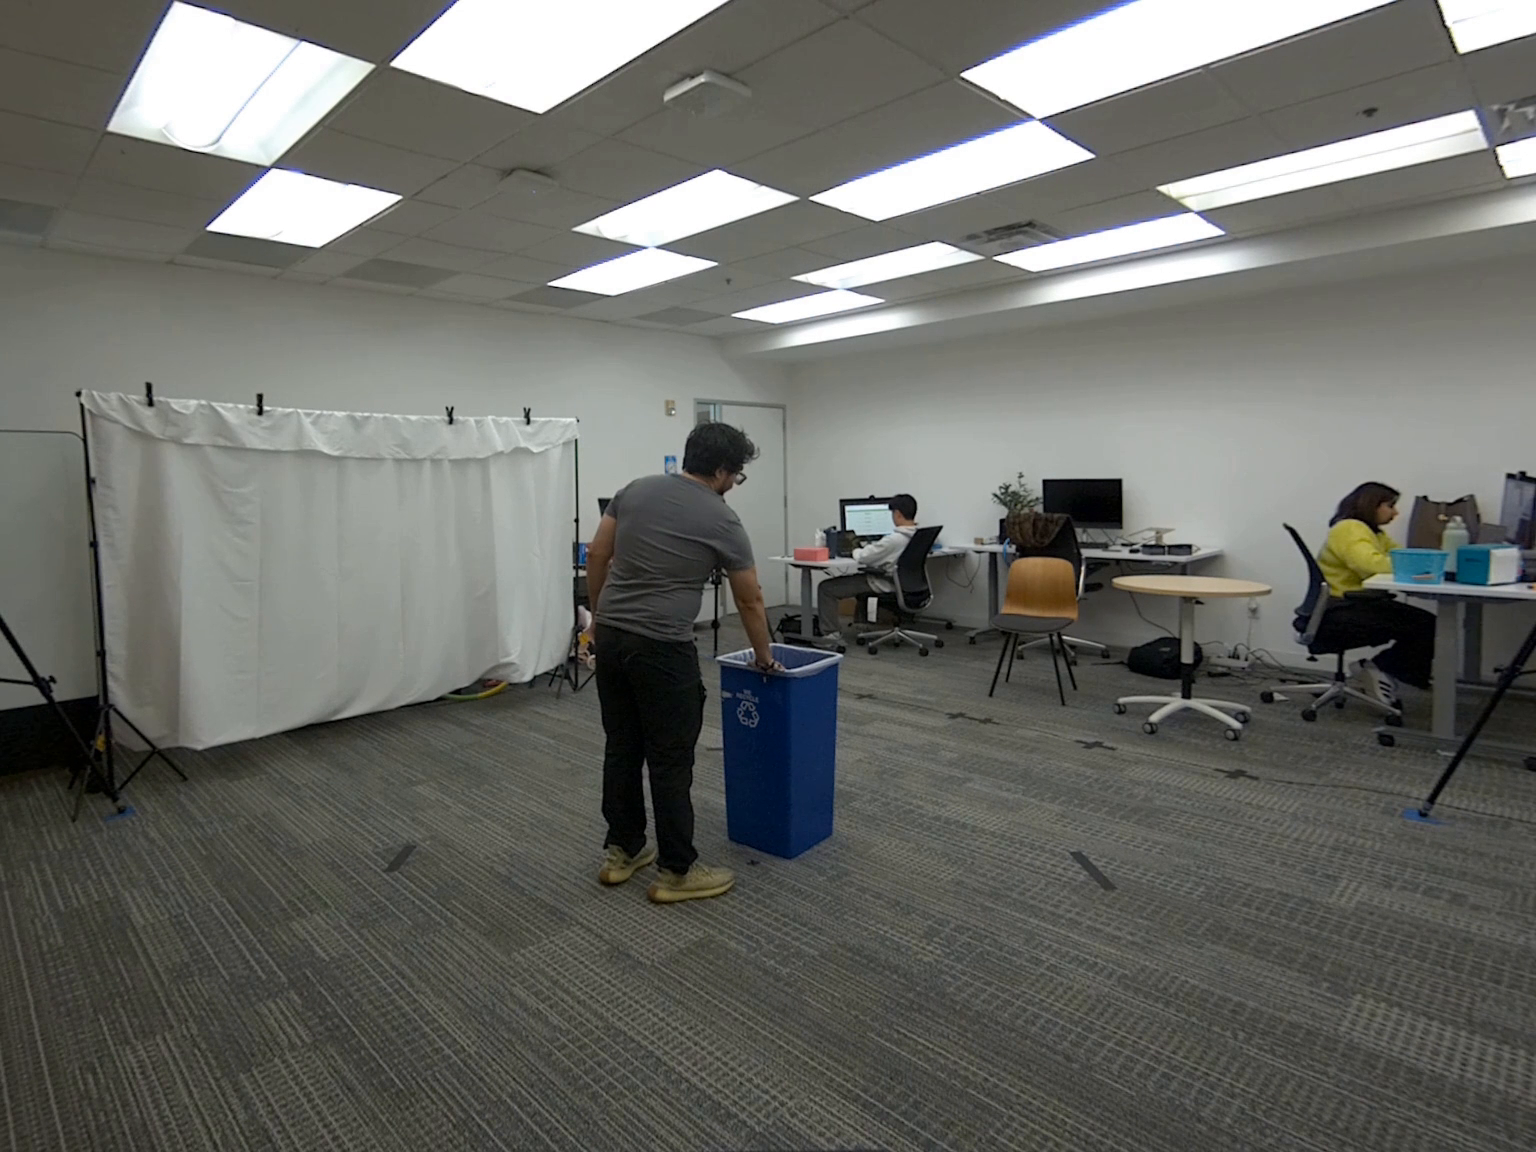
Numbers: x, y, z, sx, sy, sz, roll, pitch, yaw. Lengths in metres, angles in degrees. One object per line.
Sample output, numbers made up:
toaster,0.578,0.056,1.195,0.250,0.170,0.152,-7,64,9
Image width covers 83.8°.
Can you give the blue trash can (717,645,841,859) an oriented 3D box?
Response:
blue trash can,0.056,0.659,3.303,0.385,0.711,0.368,3,6,39
